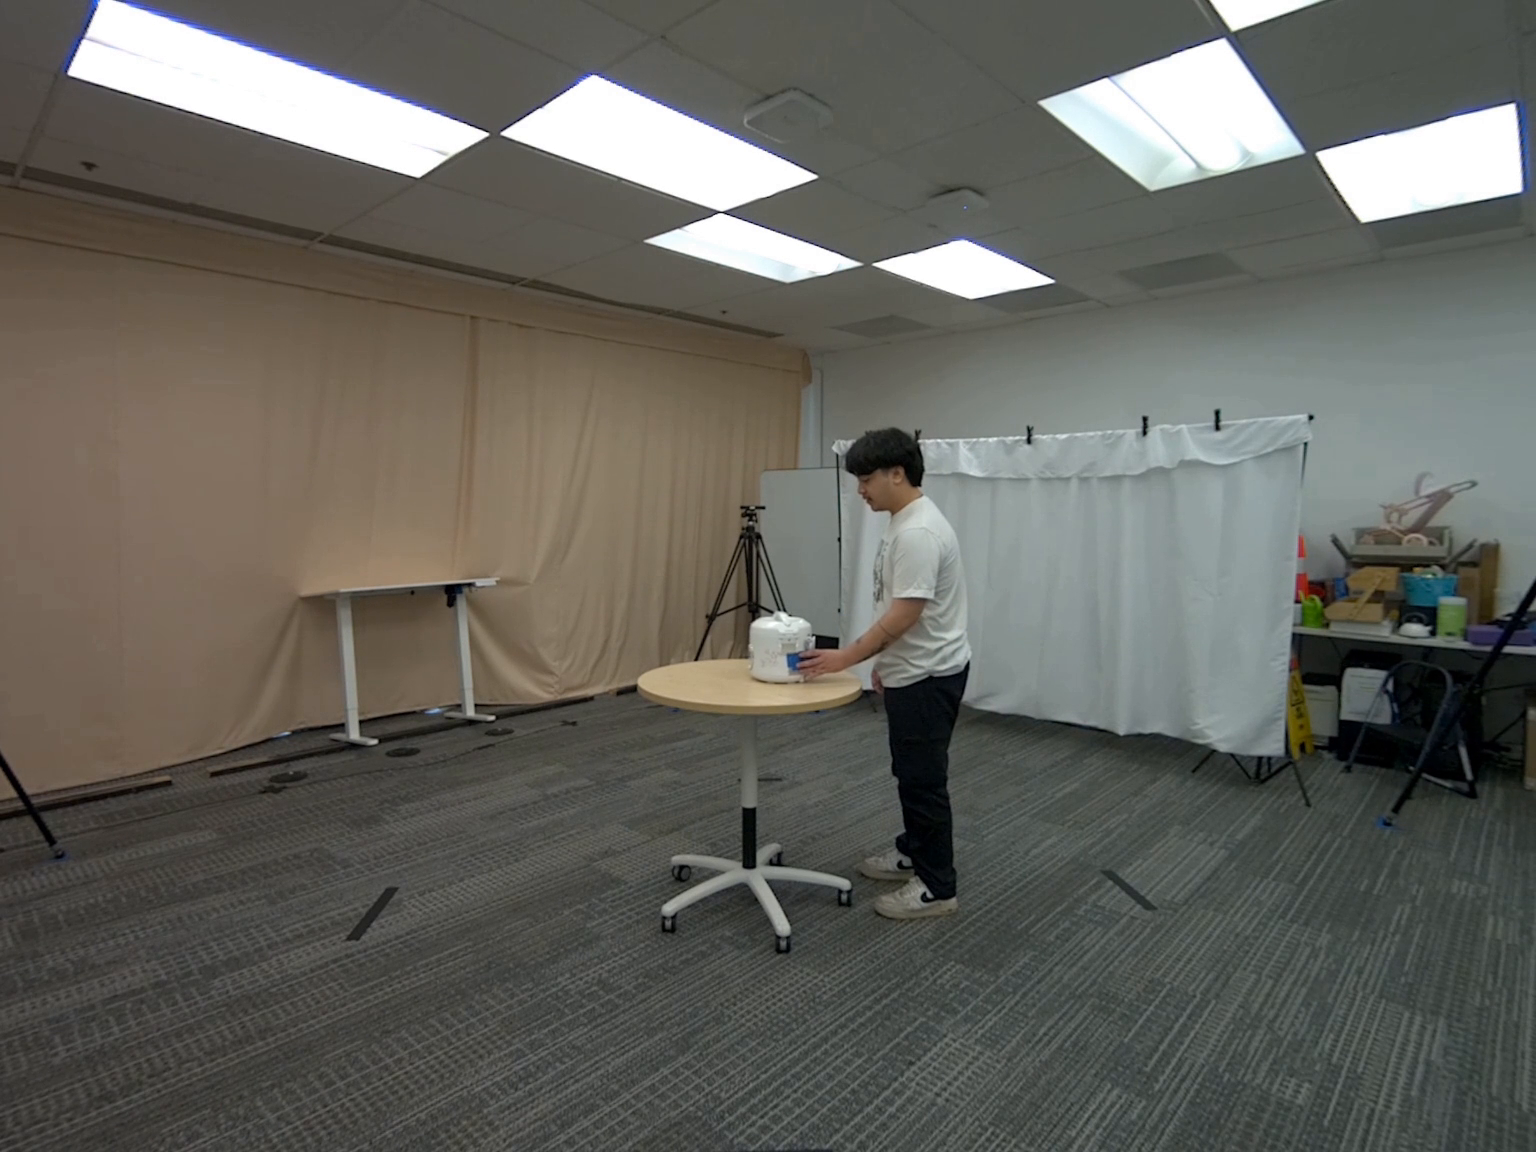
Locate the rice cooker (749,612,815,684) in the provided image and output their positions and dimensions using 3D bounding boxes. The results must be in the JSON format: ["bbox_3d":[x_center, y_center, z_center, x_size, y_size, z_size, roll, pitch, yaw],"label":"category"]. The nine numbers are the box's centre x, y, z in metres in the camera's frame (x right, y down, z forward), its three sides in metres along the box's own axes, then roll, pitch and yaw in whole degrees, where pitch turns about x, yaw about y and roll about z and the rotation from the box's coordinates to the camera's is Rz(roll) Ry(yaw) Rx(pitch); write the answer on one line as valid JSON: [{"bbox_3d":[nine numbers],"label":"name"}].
[{"bbox_3d":[0.045,0.240,2.896,0.215,0.232,0.224,-1,4,-11],"label":"rice cooker"}]
